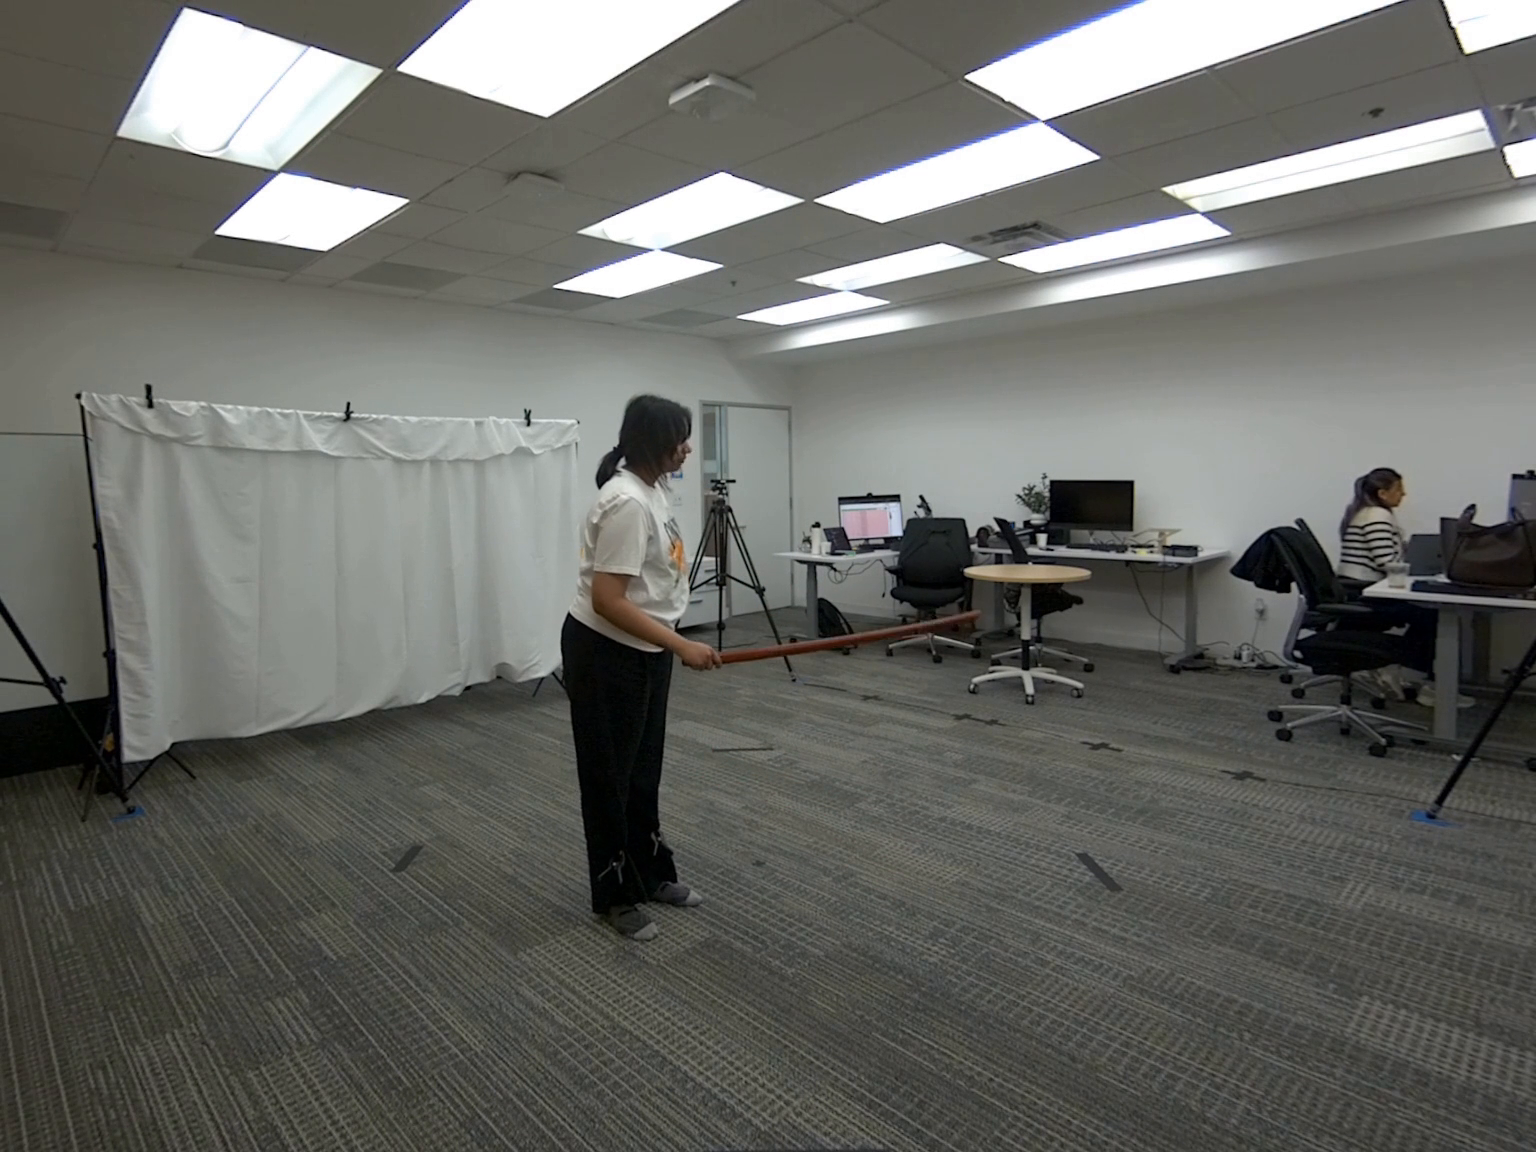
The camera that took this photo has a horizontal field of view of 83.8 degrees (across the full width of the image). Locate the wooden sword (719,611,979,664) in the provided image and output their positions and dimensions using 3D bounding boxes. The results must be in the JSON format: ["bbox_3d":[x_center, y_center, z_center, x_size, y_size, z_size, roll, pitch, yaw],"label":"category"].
[{"bbox_3d":[0.221,0.218,2.671,1.012,0.023,0.053,-7,34,-14],"label":"wooden sword"}]
